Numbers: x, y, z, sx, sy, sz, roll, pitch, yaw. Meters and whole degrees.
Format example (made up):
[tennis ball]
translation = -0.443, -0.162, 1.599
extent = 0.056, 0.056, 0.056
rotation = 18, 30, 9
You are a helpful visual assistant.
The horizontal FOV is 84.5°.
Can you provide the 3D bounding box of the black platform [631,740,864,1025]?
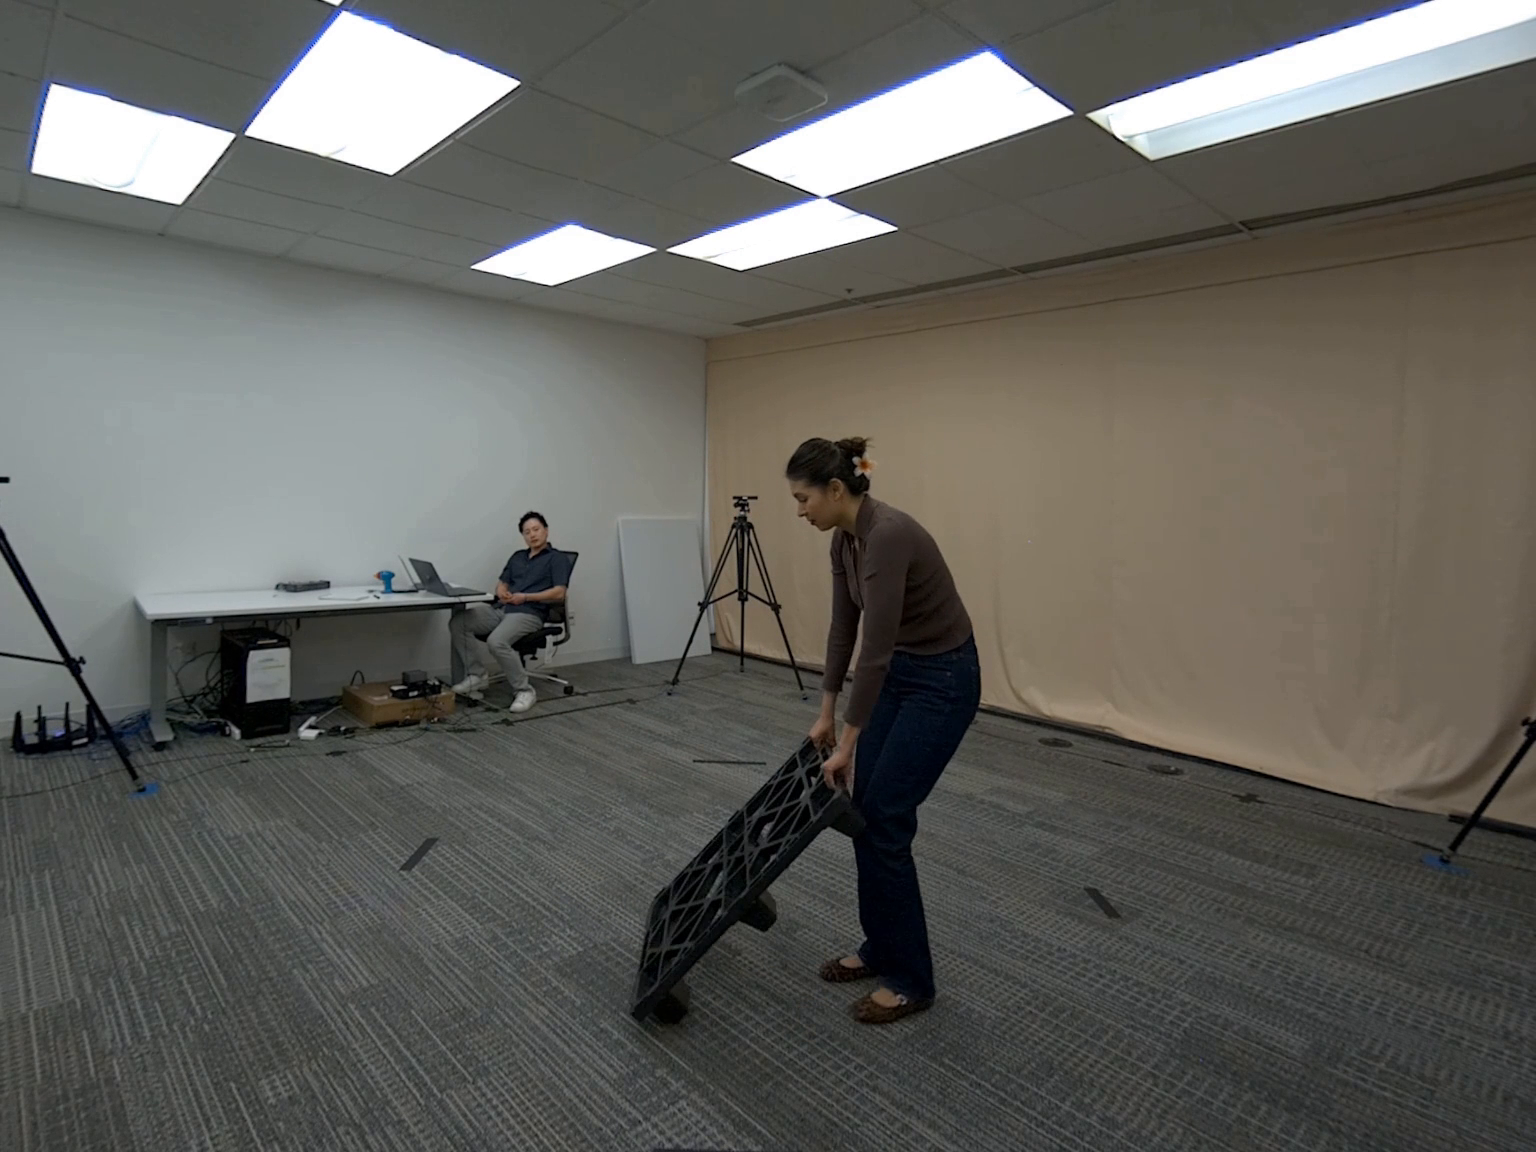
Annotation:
[black platform]
translation = -0.051, 0.845, 2.418
extent = 0.142, 0.805, 0.608
rotation = 42, 2, -6
